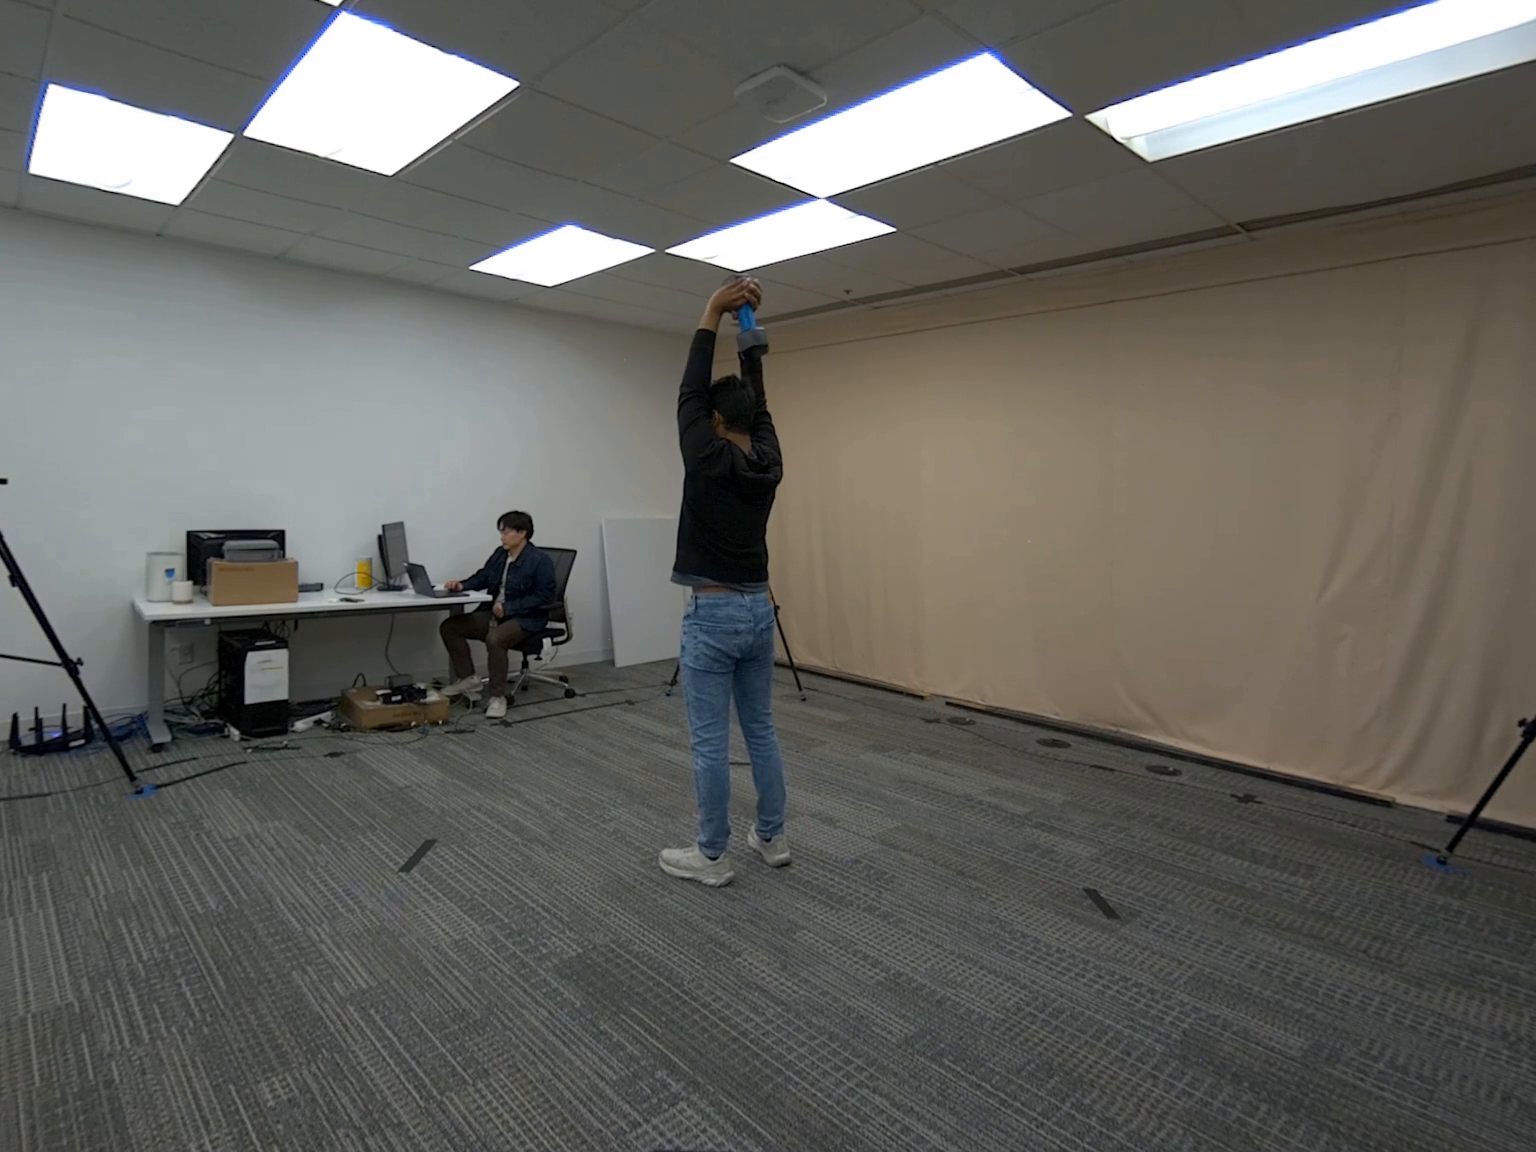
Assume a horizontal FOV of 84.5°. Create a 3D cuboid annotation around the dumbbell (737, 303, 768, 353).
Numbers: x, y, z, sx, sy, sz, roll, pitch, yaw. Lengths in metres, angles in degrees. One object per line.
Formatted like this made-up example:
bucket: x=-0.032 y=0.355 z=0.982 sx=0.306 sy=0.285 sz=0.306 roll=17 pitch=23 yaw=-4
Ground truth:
dumbbell: x=-0.095 y=-0.935 z=3.044 sx=0.121 sy=0.295 sz=0.110 roll=-14 pitch=-7 yaw=-32
